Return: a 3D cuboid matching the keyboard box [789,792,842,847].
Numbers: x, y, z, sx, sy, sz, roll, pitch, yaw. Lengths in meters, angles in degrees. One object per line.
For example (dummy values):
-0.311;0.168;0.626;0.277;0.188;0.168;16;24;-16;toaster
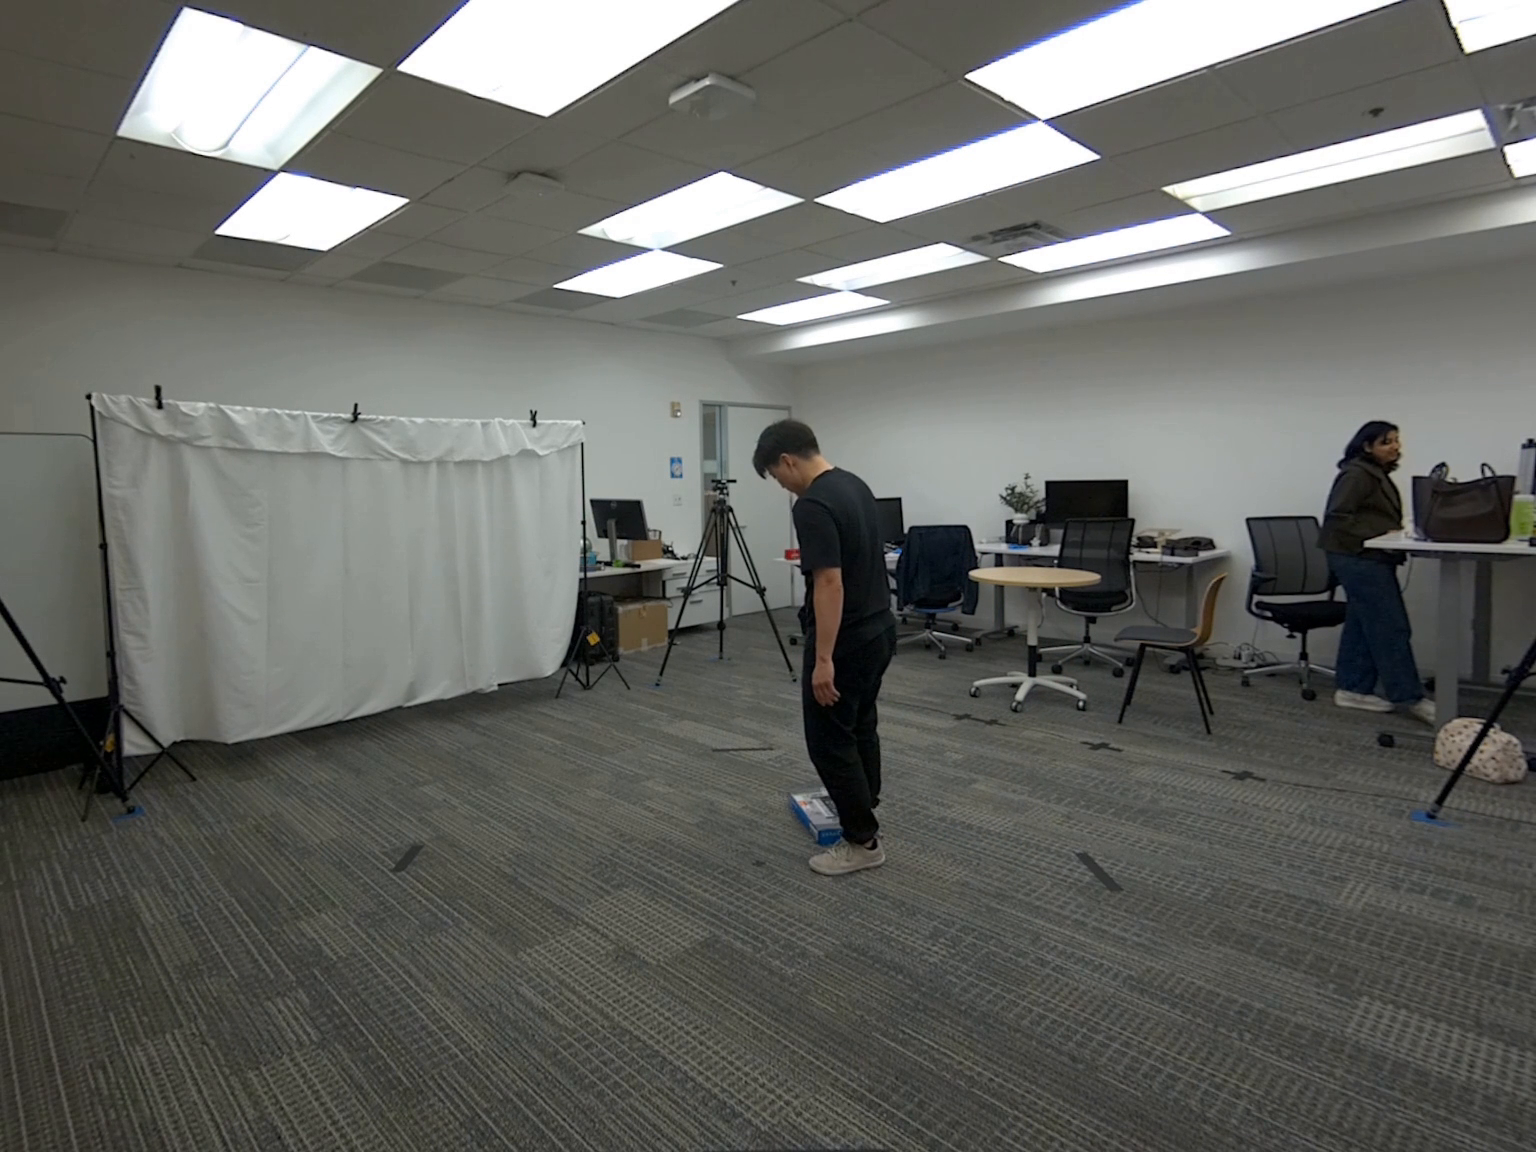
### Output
0.220;0.968;3.484;0.174;0.059;0.444;-3;7;-15;keyboard box
